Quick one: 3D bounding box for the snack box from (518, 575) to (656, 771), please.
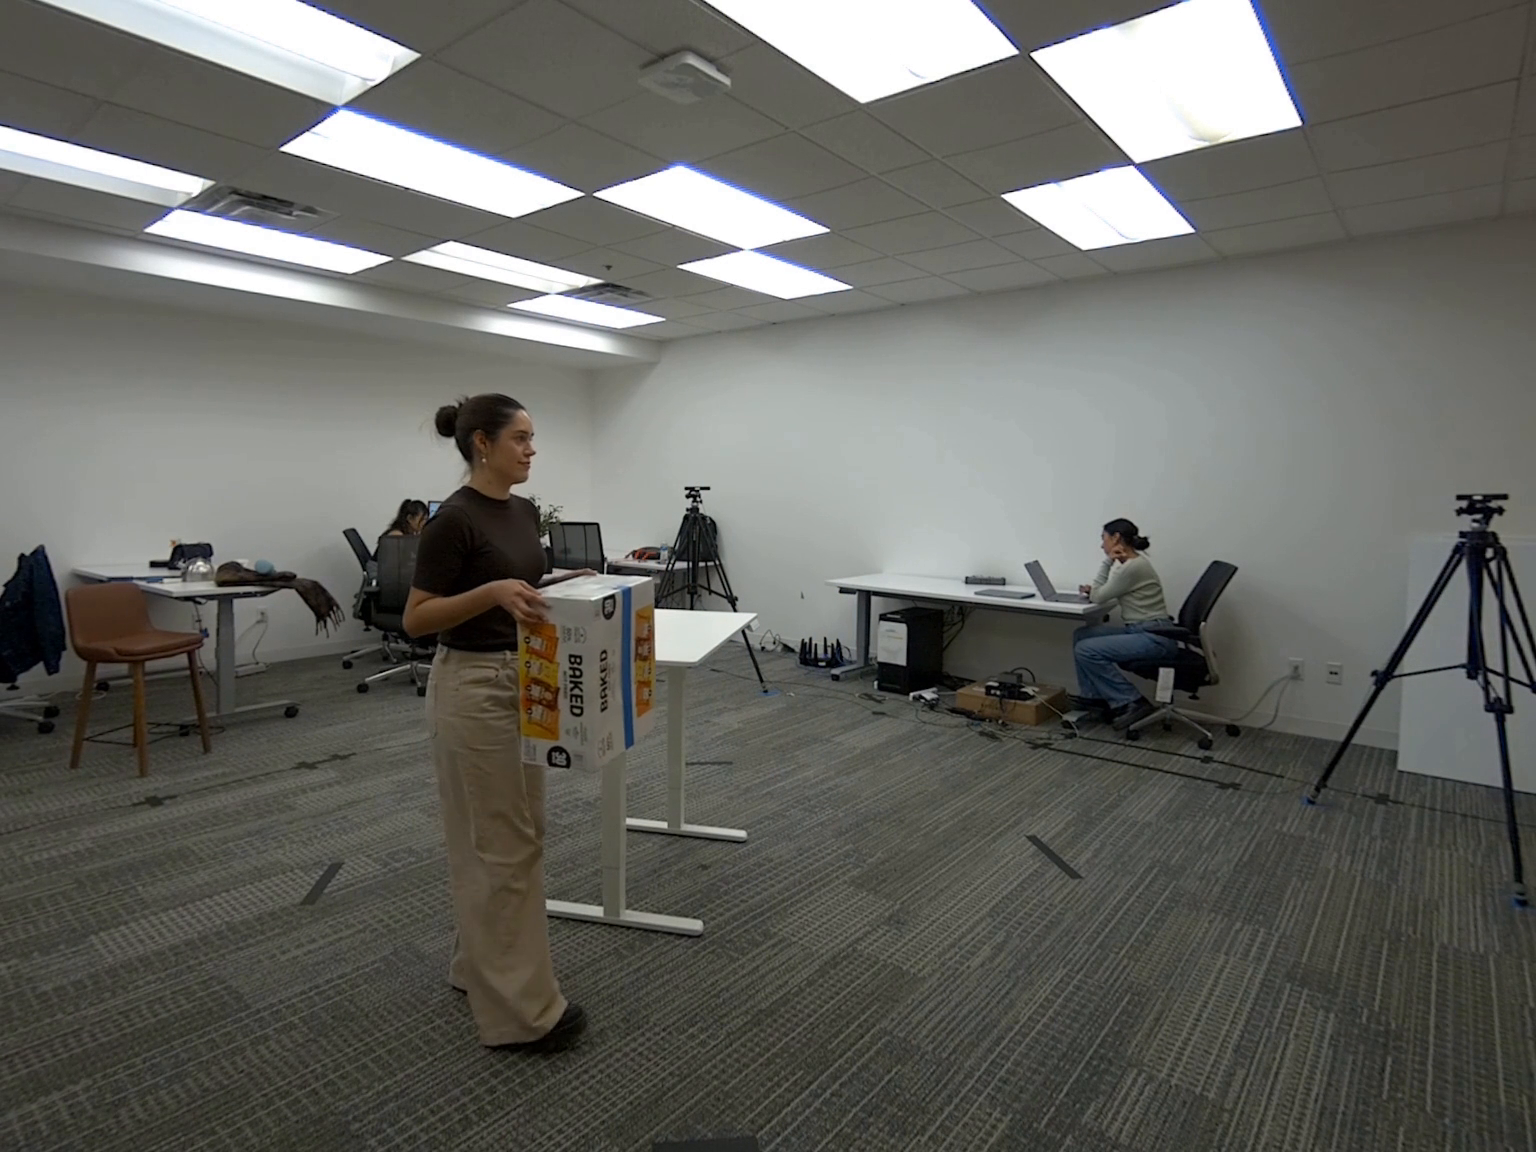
[{"bbox_3d":[-0.450,0.226,2.104,0.210,0.403,0.335,2,6,18],"label":"snack box"}]
